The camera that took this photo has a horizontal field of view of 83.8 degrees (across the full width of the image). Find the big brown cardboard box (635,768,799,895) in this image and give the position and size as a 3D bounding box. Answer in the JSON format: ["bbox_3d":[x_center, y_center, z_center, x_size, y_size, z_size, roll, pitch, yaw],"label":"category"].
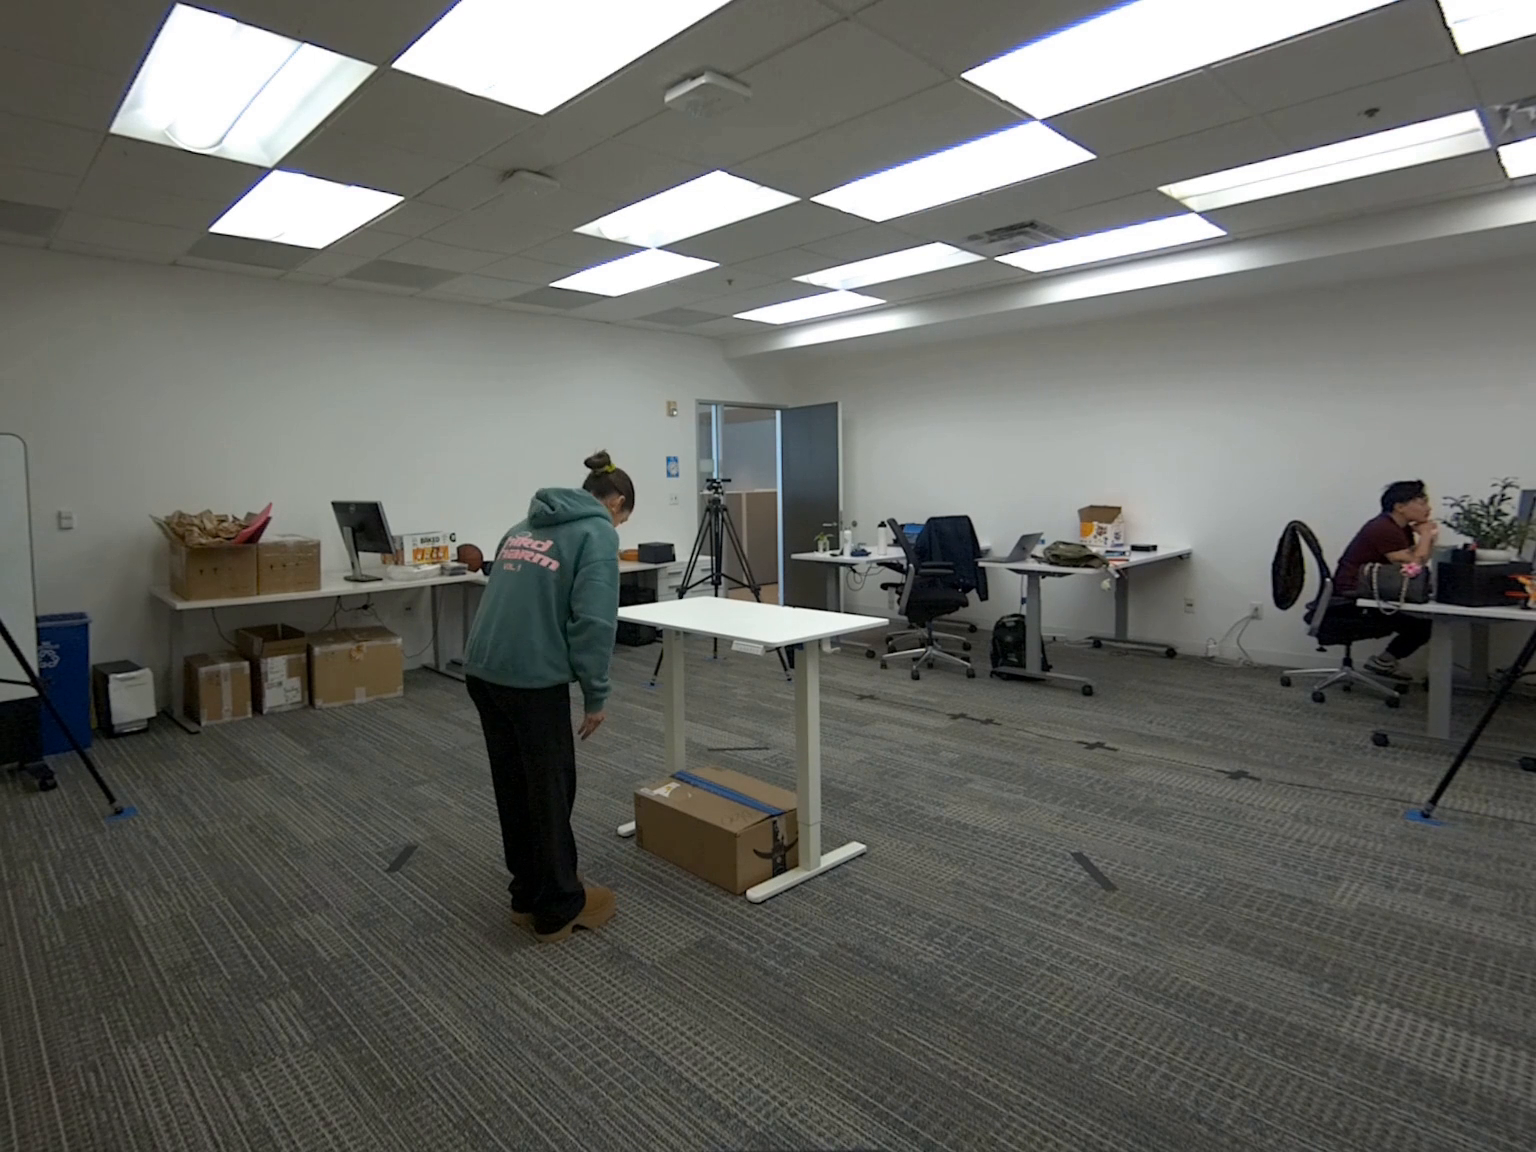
[{"bbox_3d":[-0.164,0.925,3.194,0.407,0.232,0.607,-7,9,-45],"label":"big brown cardboard box"}]
